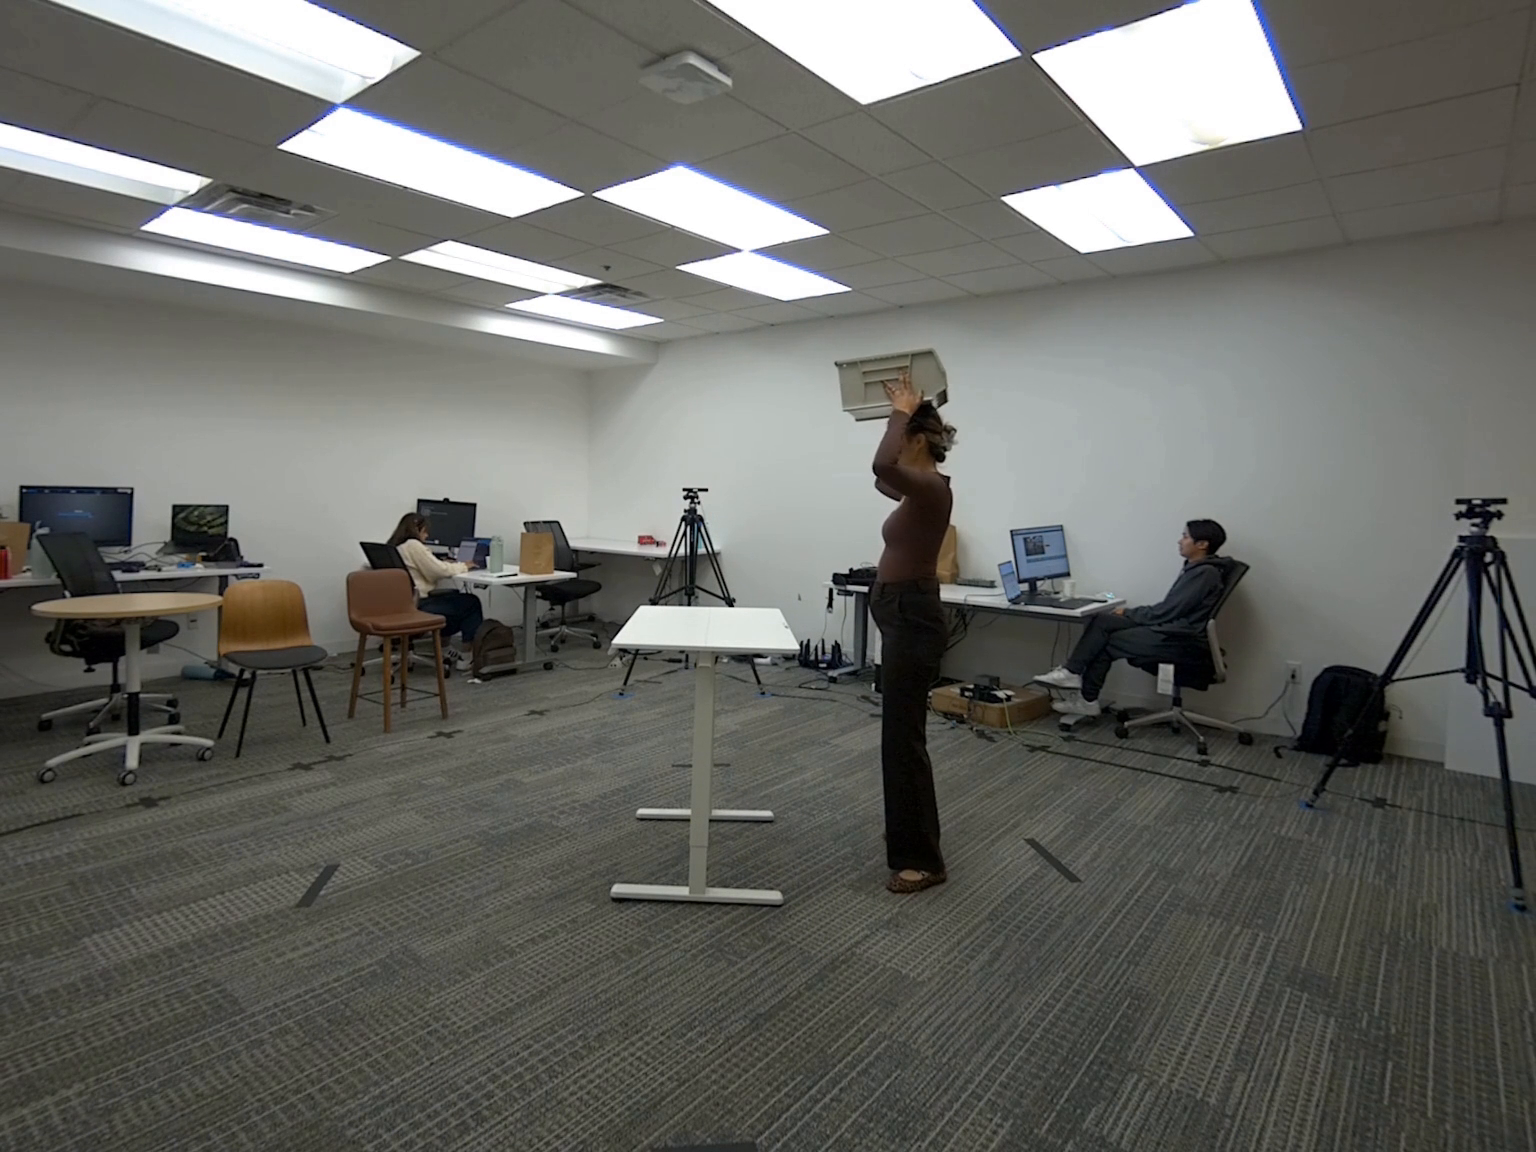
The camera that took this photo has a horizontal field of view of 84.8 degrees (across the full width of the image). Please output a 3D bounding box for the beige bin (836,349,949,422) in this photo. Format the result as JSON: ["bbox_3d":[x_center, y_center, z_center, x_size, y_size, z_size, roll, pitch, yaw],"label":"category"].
[{"bbox_3d":[0.466,-0.709,3.161,0.382,0.188,0.418,-6,4,13],"label":"beige bin"}]
